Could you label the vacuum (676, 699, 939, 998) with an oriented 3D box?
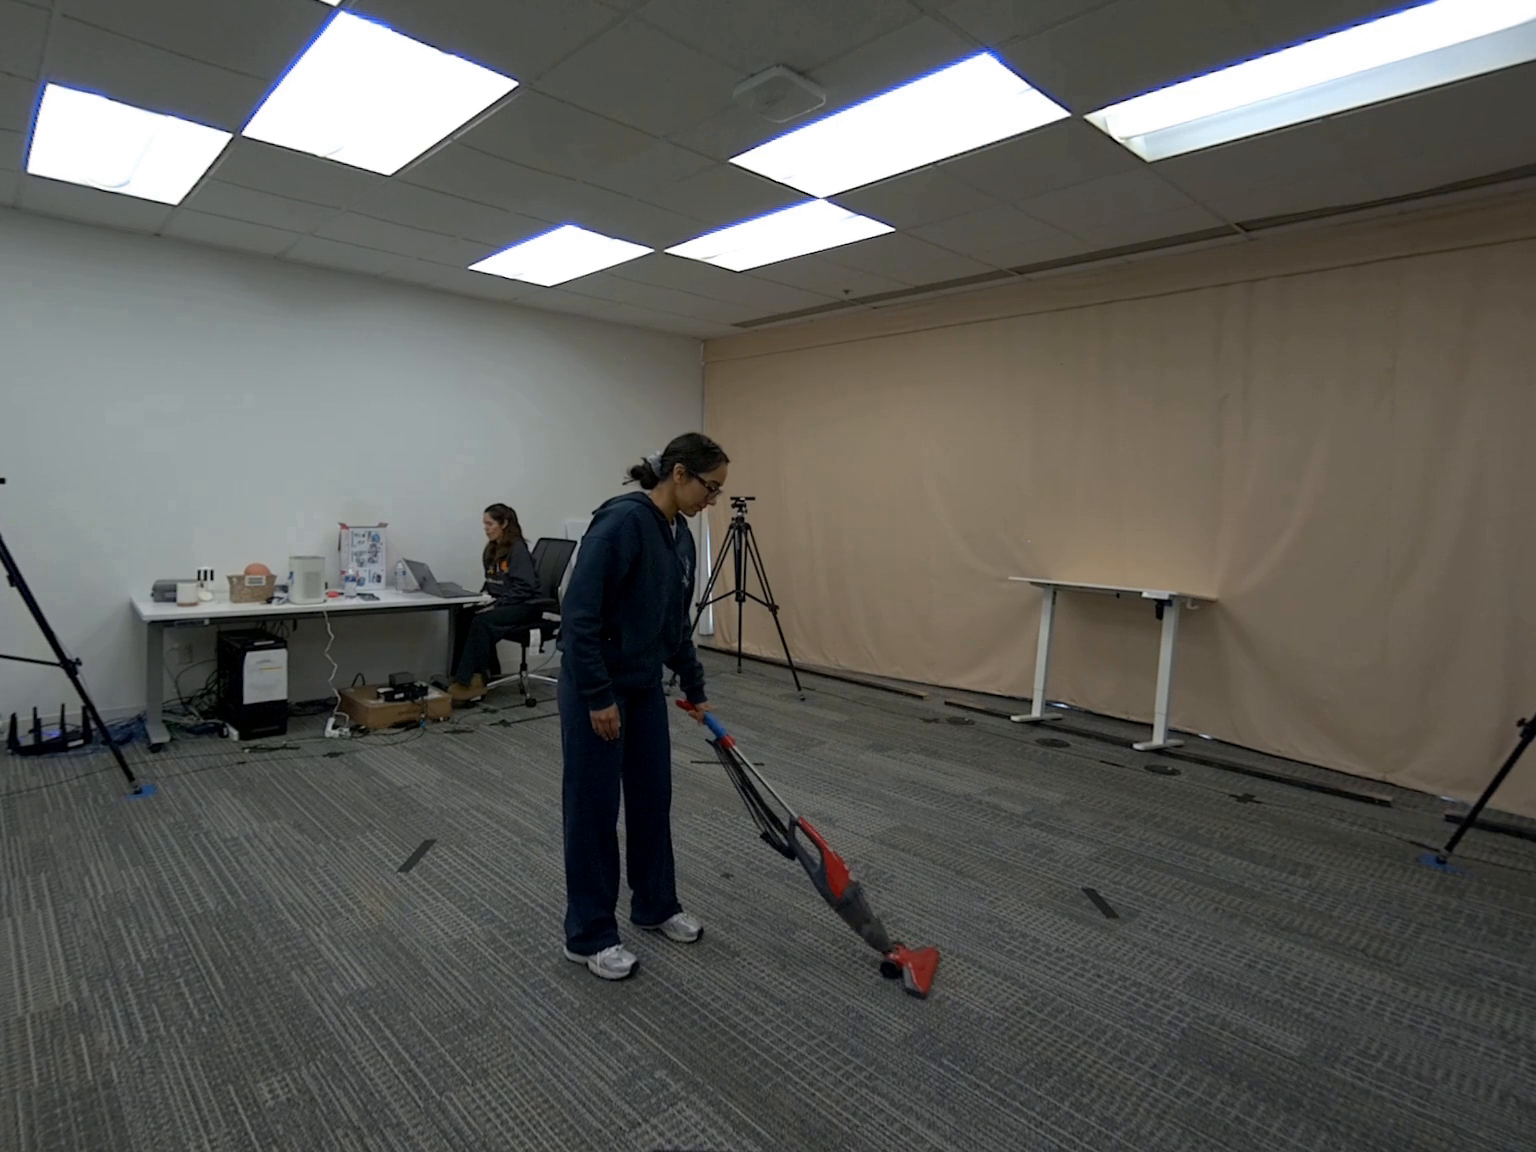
[{"bbox_3d":[0.058,0.788,2.645,1.066,0.144,0.249,47,18,14],"label":"vacuum"}]
